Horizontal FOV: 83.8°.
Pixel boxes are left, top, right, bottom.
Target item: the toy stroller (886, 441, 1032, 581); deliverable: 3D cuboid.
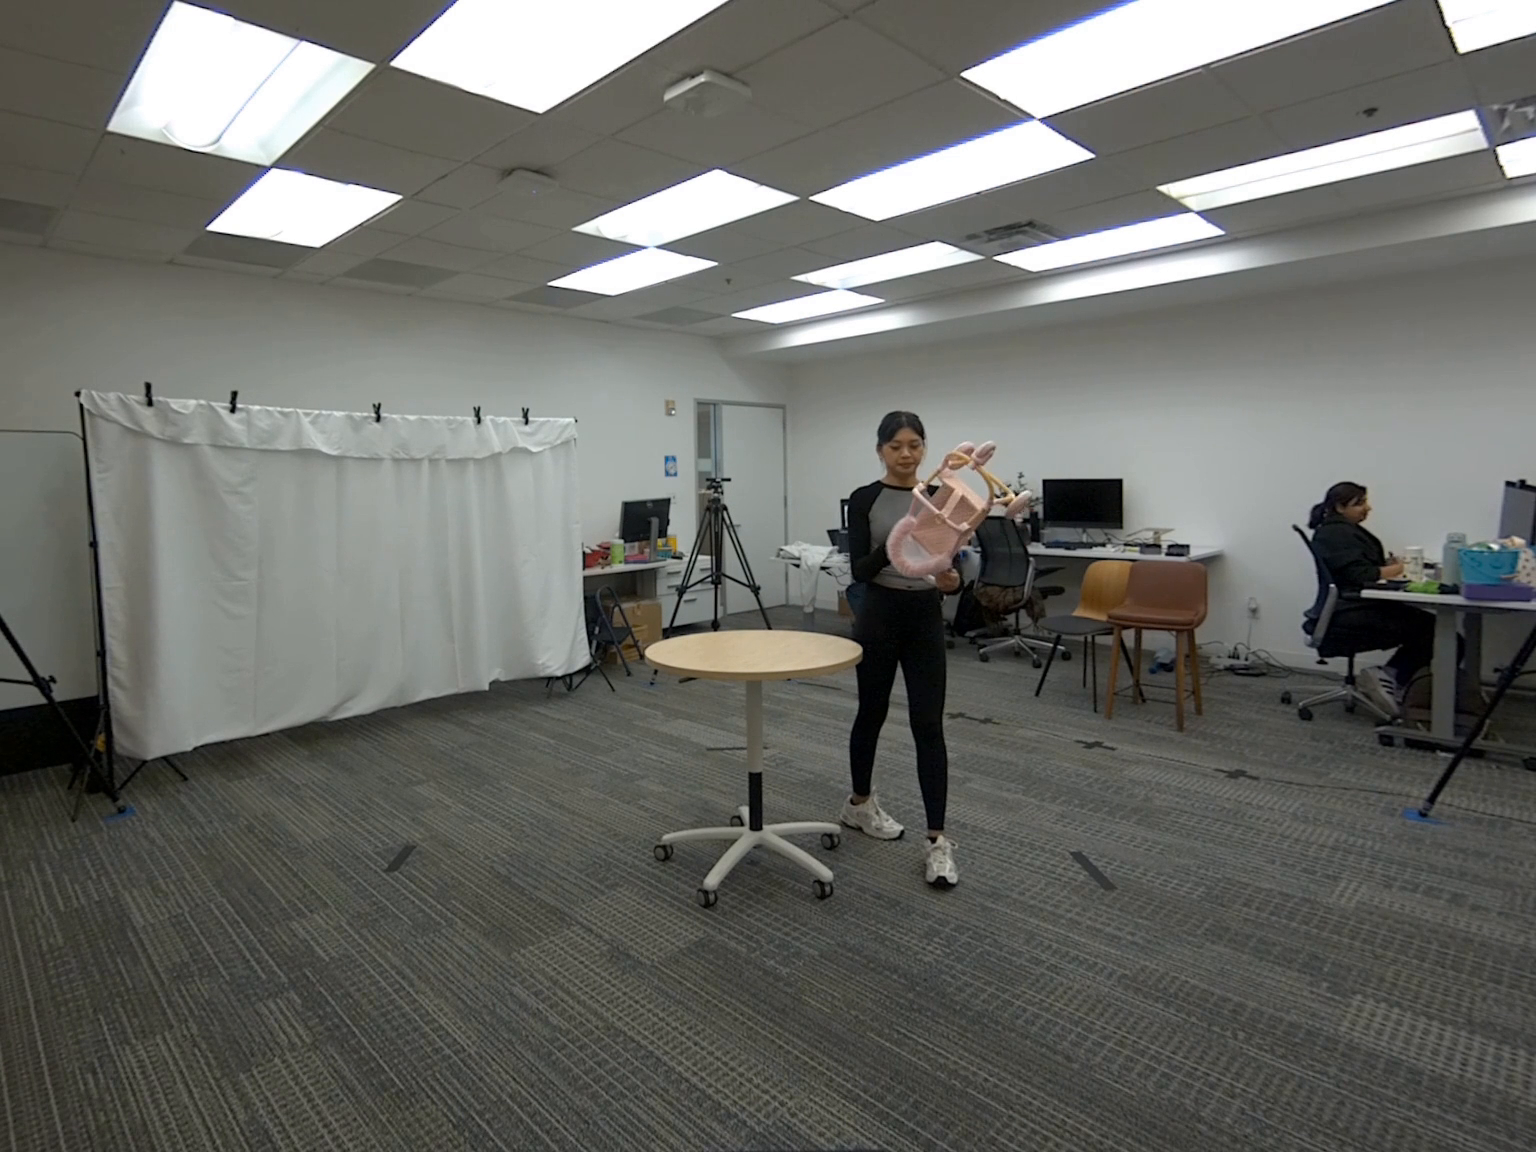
[{"bbox_3d":[0.574,-0.198,2.711,0.289,0.533,0.333,46,21,18],"label":"toy stroller"}]
